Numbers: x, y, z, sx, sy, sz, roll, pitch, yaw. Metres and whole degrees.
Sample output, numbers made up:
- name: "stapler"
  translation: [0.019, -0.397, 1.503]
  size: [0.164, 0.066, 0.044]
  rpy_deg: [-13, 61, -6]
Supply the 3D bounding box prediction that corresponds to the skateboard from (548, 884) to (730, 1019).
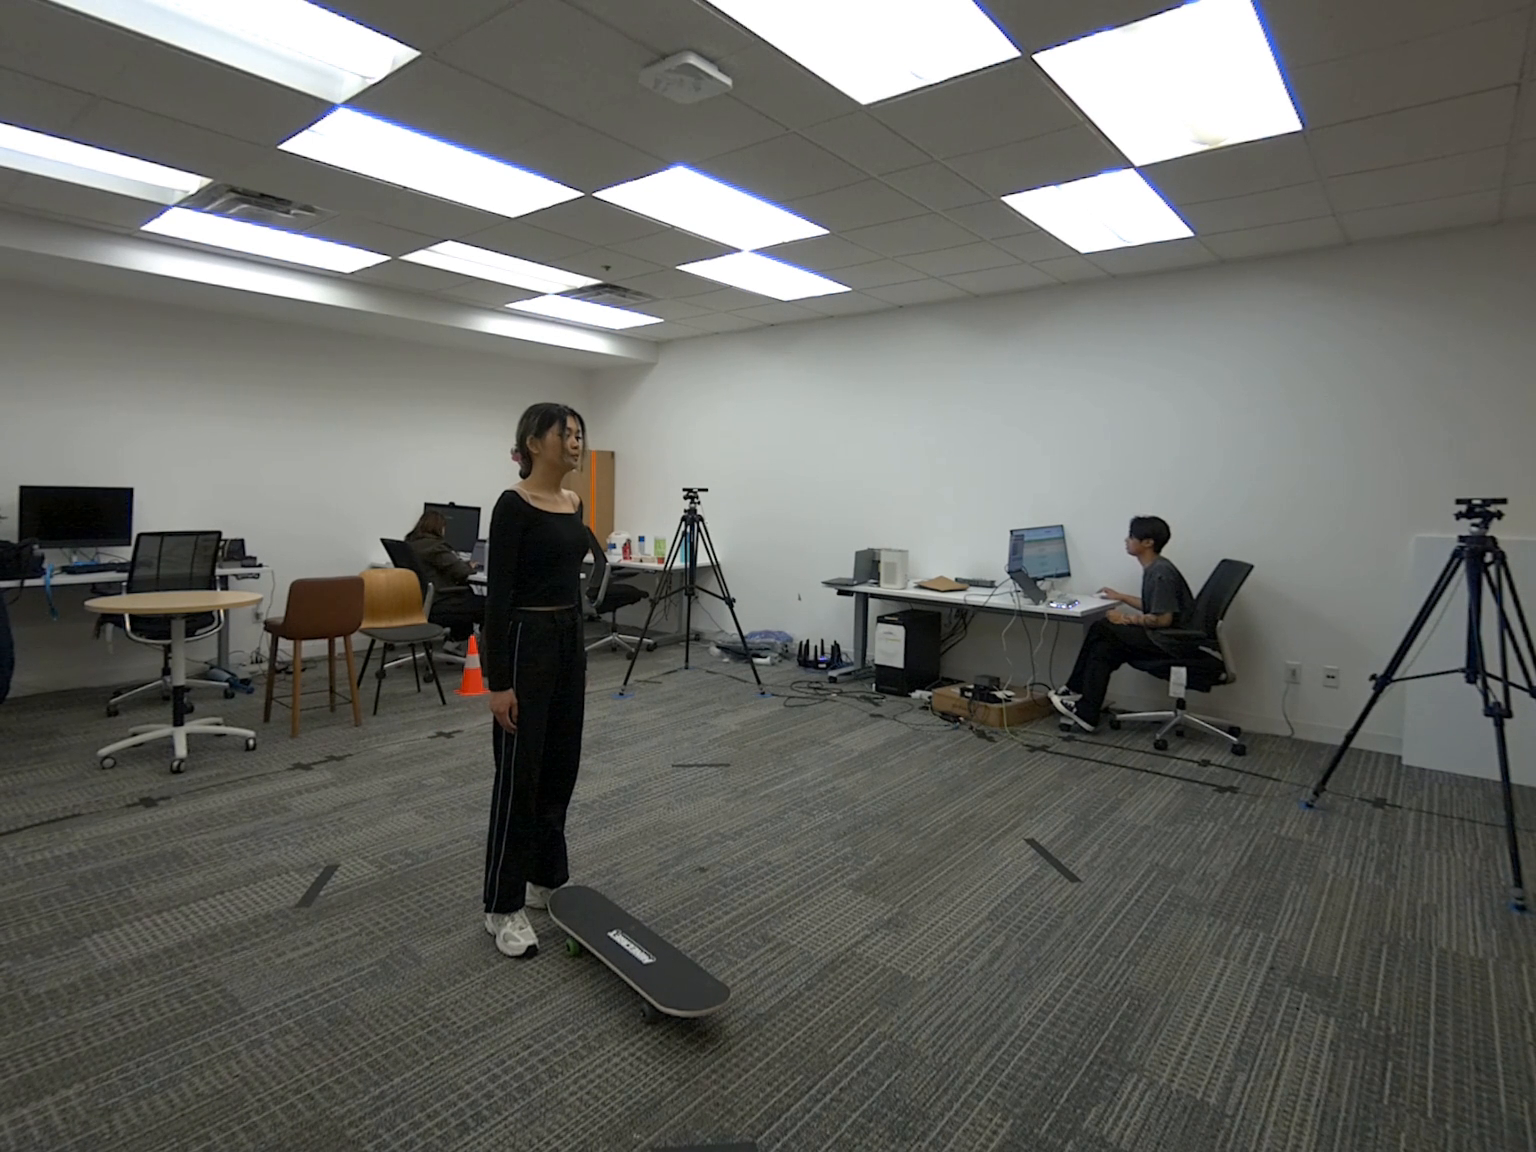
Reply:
- name: "skateboard"
  translation: [-0.396, 1.077, 2.410]
  size: [0.188, 0.110, 0.812]
  rpy_deg: [-4, 7, -41]
